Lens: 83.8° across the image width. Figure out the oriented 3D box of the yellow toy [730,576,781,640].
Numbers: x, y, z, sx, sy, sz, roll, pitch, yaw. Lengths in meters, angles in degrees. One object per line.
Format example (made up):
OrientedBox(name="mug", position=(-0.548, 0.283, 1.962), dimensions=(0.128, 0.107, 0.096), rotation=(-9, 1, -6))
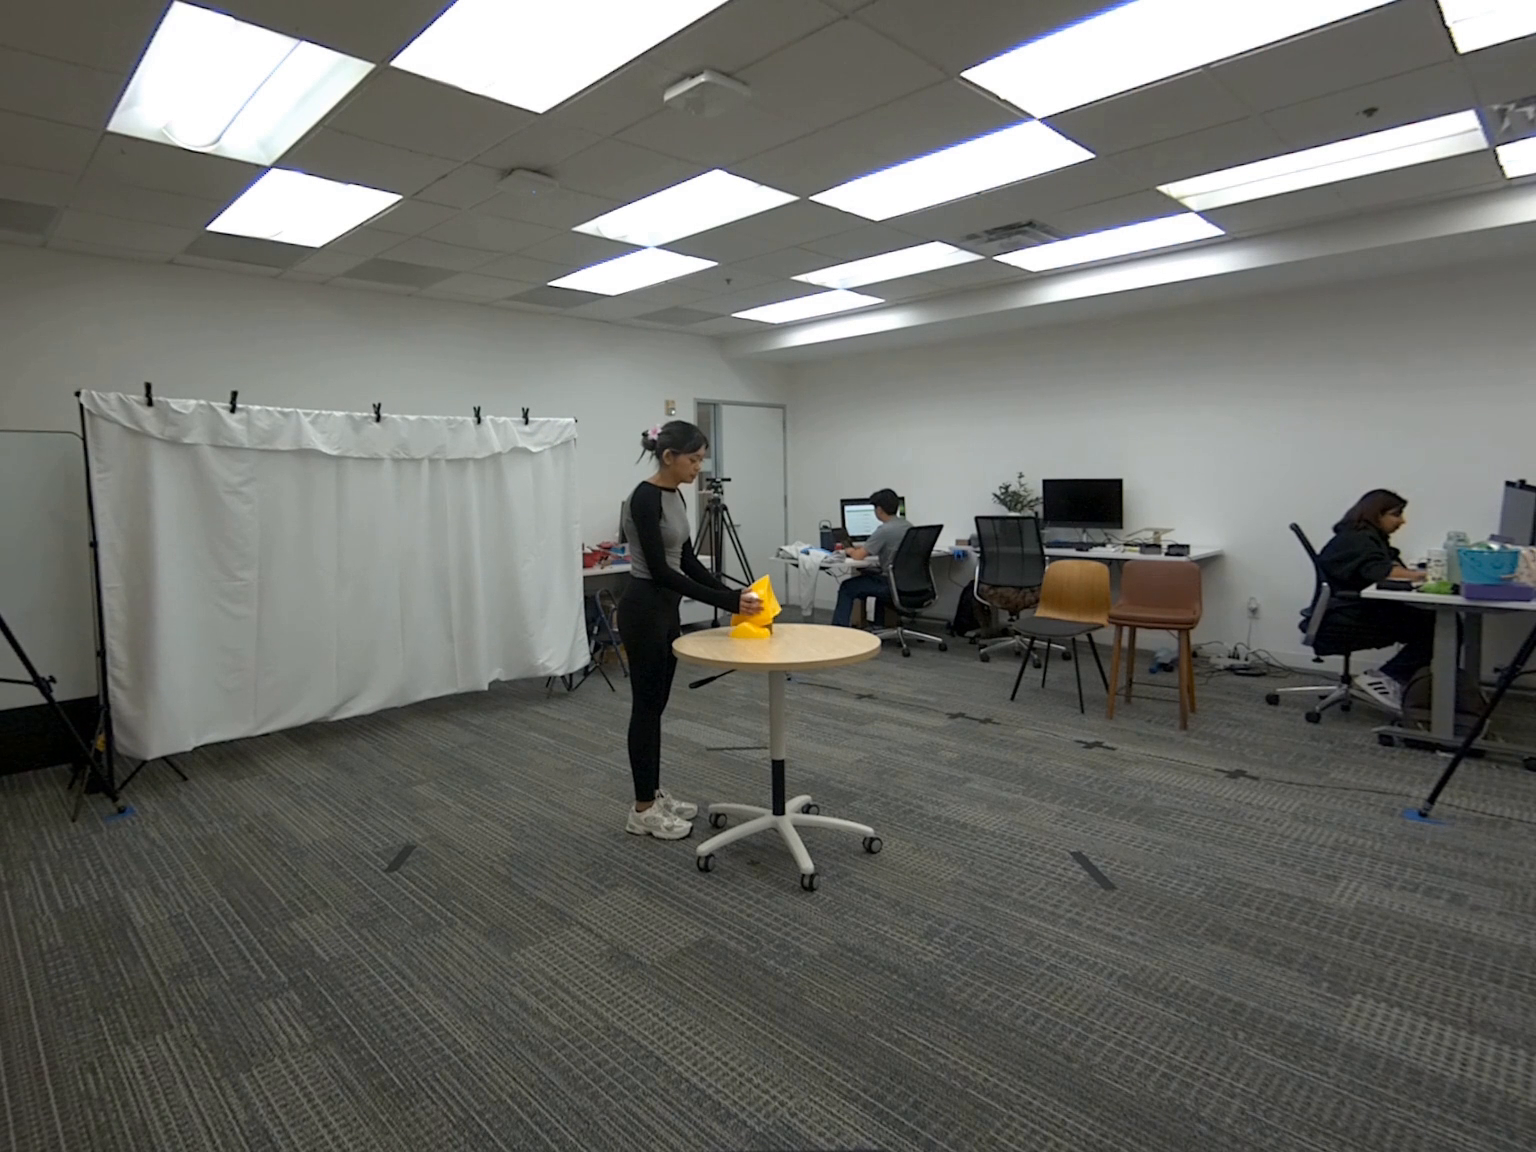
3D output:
OrientedBox(name="yellow toy", position=(-0.056, 0.109, 3.318), dimensions=(0.196, 0.230, 0.202), rotation=(2, 4, 15))
